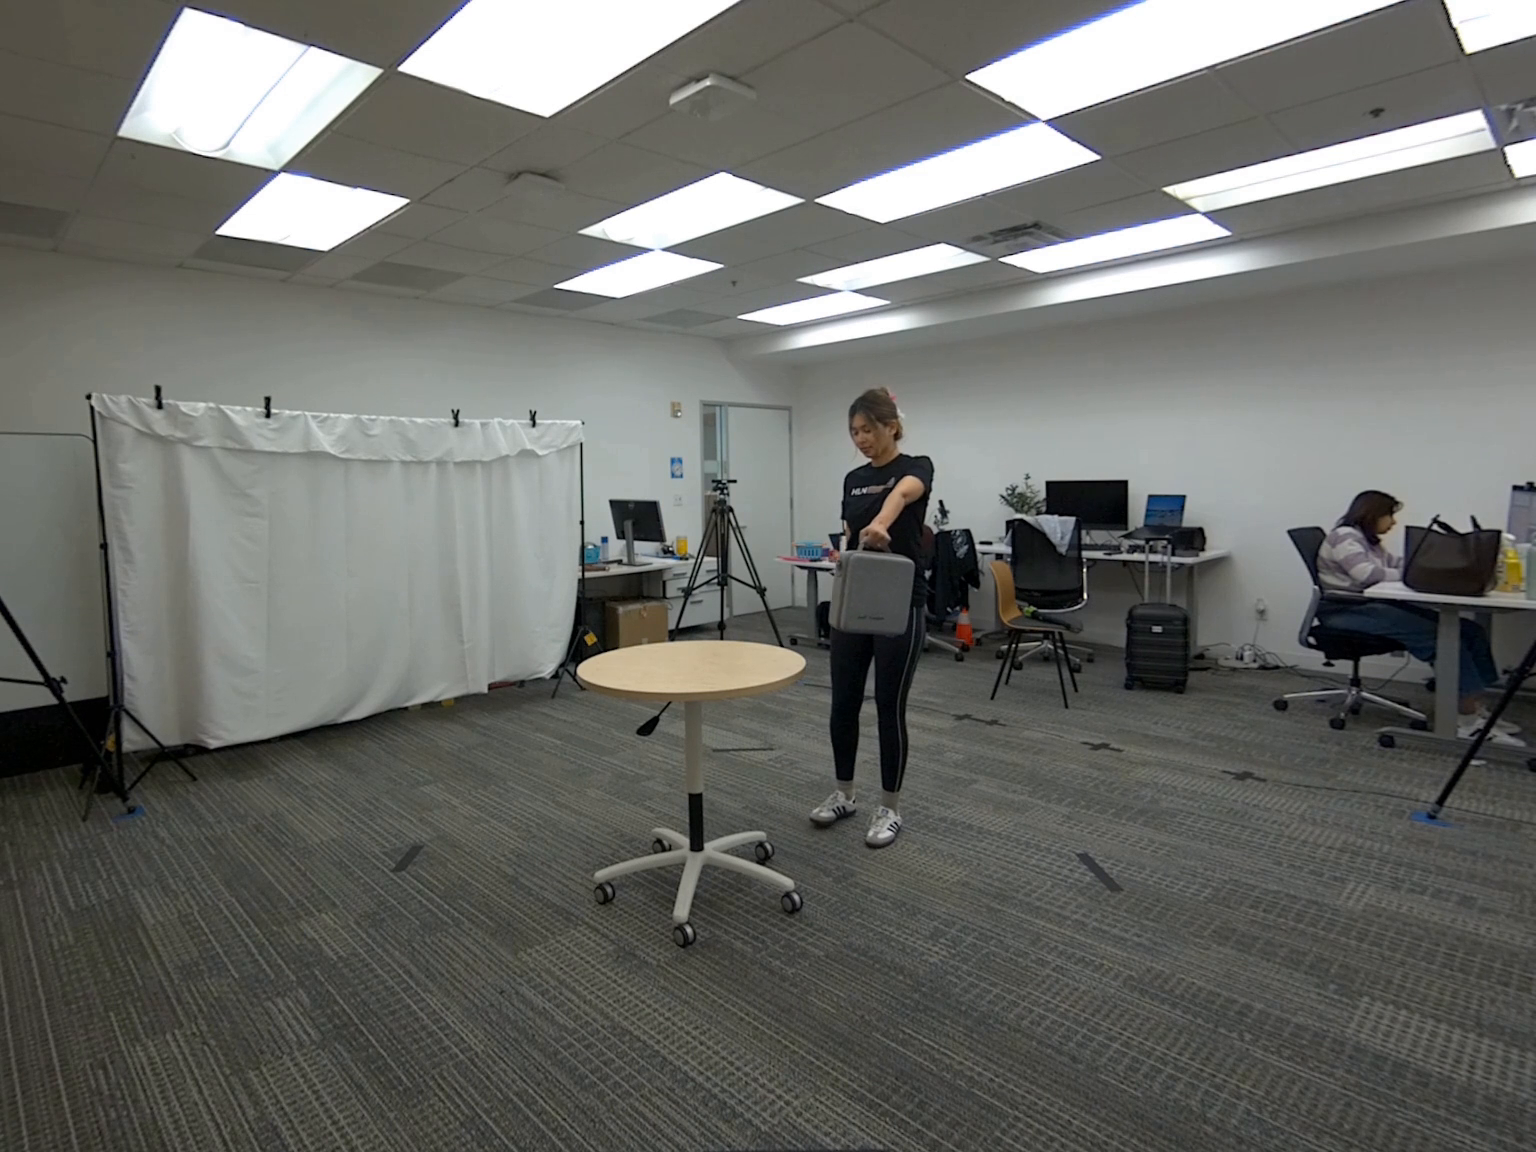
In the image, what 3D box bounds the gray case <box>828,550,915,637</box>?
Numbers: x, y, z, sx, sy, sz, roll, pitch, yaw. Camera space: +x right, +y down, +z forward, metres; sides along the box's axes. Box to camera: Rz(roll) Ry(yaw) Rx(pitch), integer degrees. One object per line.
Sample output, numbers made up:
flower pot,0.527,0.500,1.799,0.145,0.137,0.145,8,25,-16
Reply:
gray case,0.331,0.051,2.720,0.250,0.260,0.107,7,2,-26
